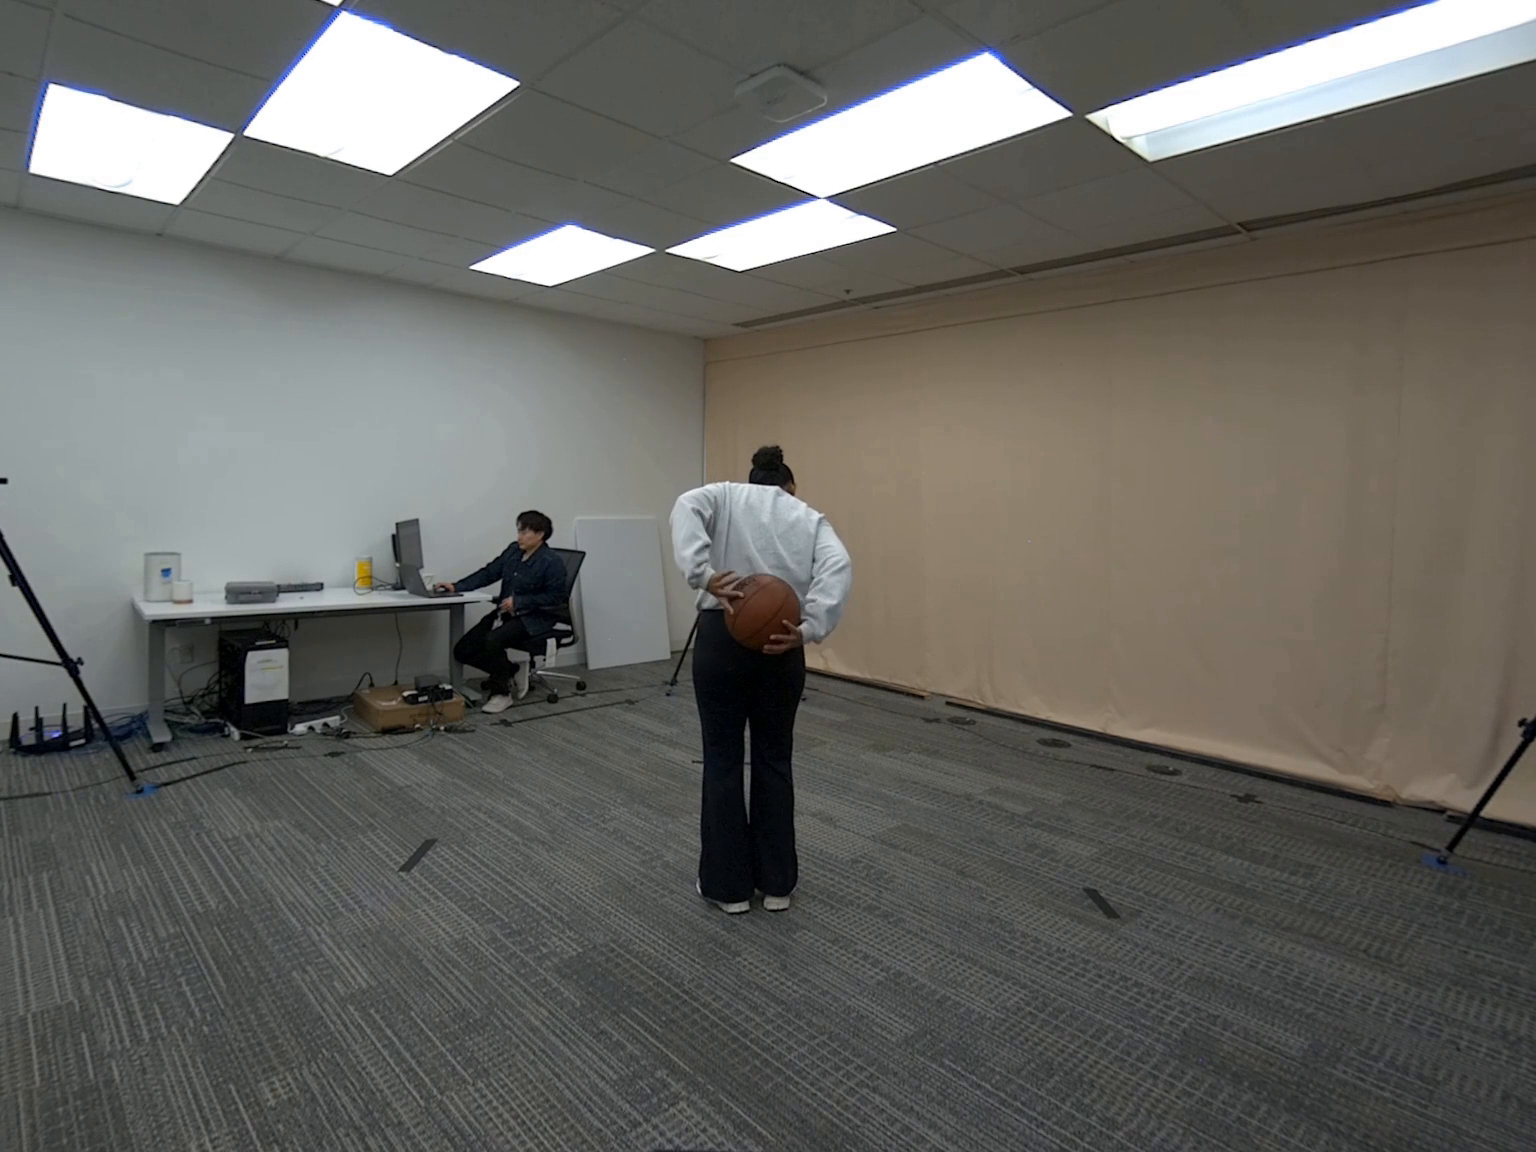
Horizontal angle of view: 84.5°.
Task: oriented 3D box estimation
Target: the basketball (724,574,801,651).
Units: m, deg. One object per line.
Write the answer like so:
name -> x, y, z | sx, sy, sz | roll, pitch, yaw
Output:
basketball -> -0.032, 0.101, 2.617 | 0.236, 0.235, 0.237 | 1, 4, -1
